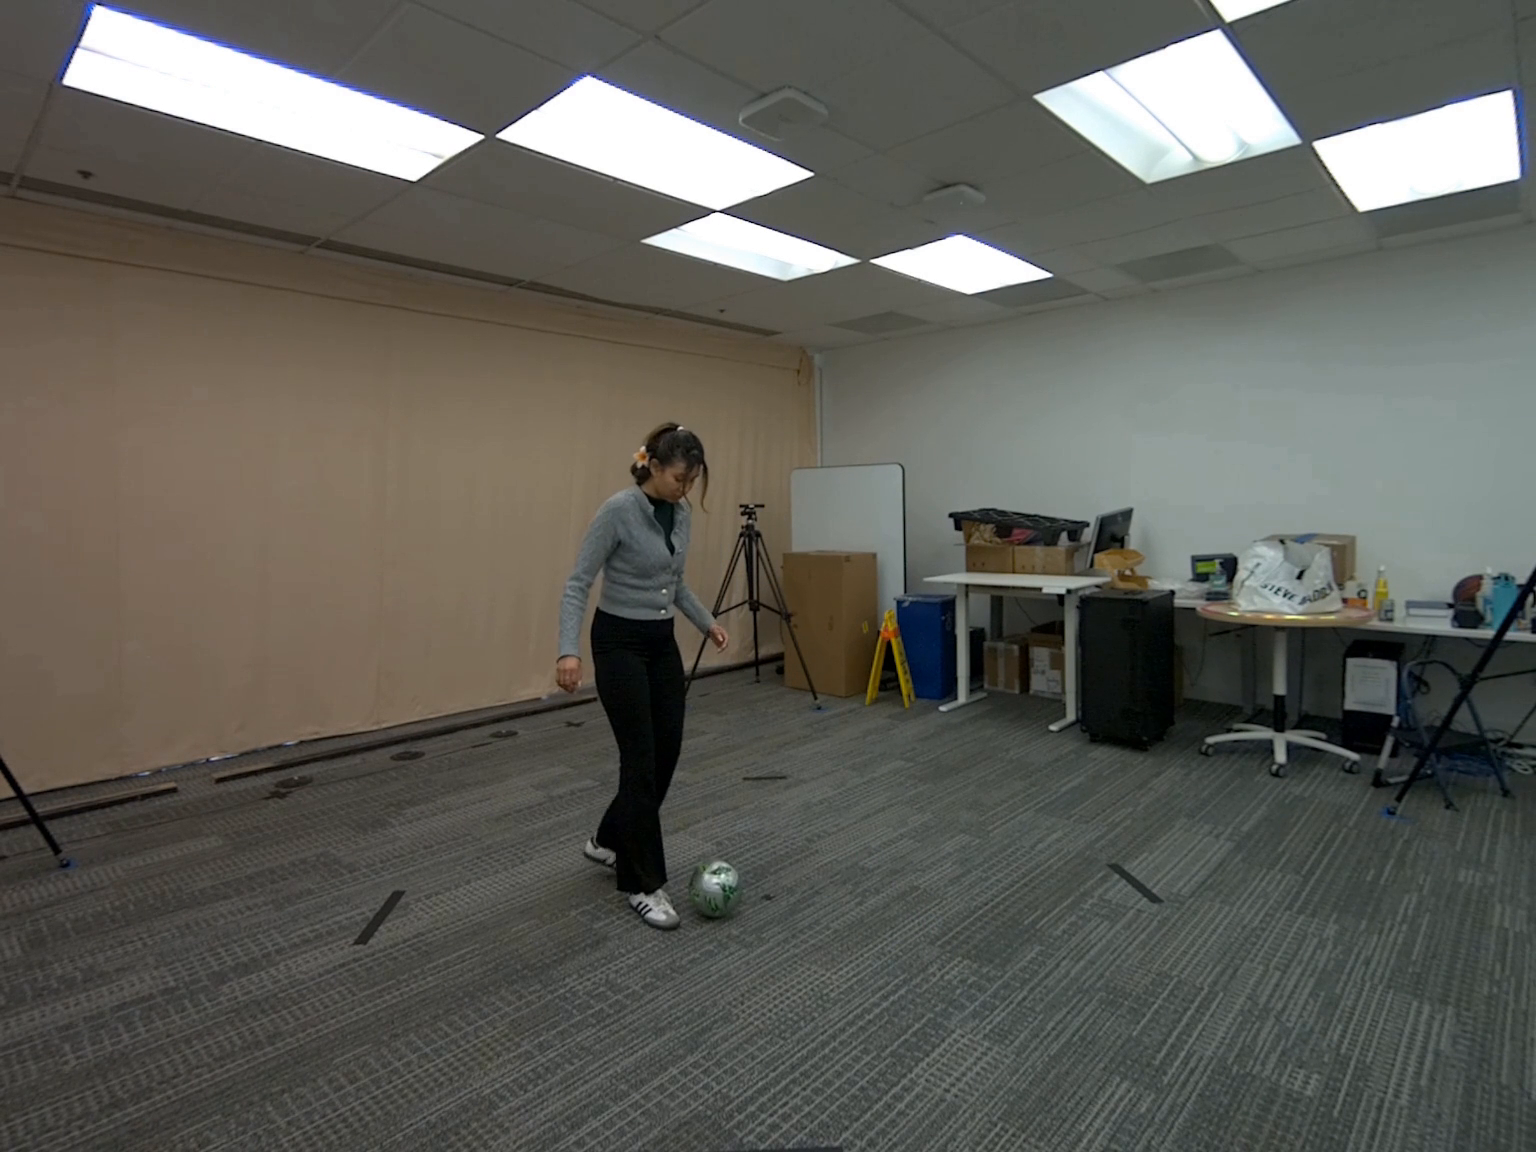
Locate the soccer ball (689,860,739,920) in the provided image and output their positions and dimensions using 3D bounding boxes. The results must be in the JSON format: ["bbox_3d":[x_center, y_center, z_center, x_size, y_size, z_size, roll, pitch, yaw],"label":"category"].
[{"bbox_3d":[-0.175,1.058,2.853,0.187,0.187,0.188,-1,4,-2],"label":"soccer ball"}]
